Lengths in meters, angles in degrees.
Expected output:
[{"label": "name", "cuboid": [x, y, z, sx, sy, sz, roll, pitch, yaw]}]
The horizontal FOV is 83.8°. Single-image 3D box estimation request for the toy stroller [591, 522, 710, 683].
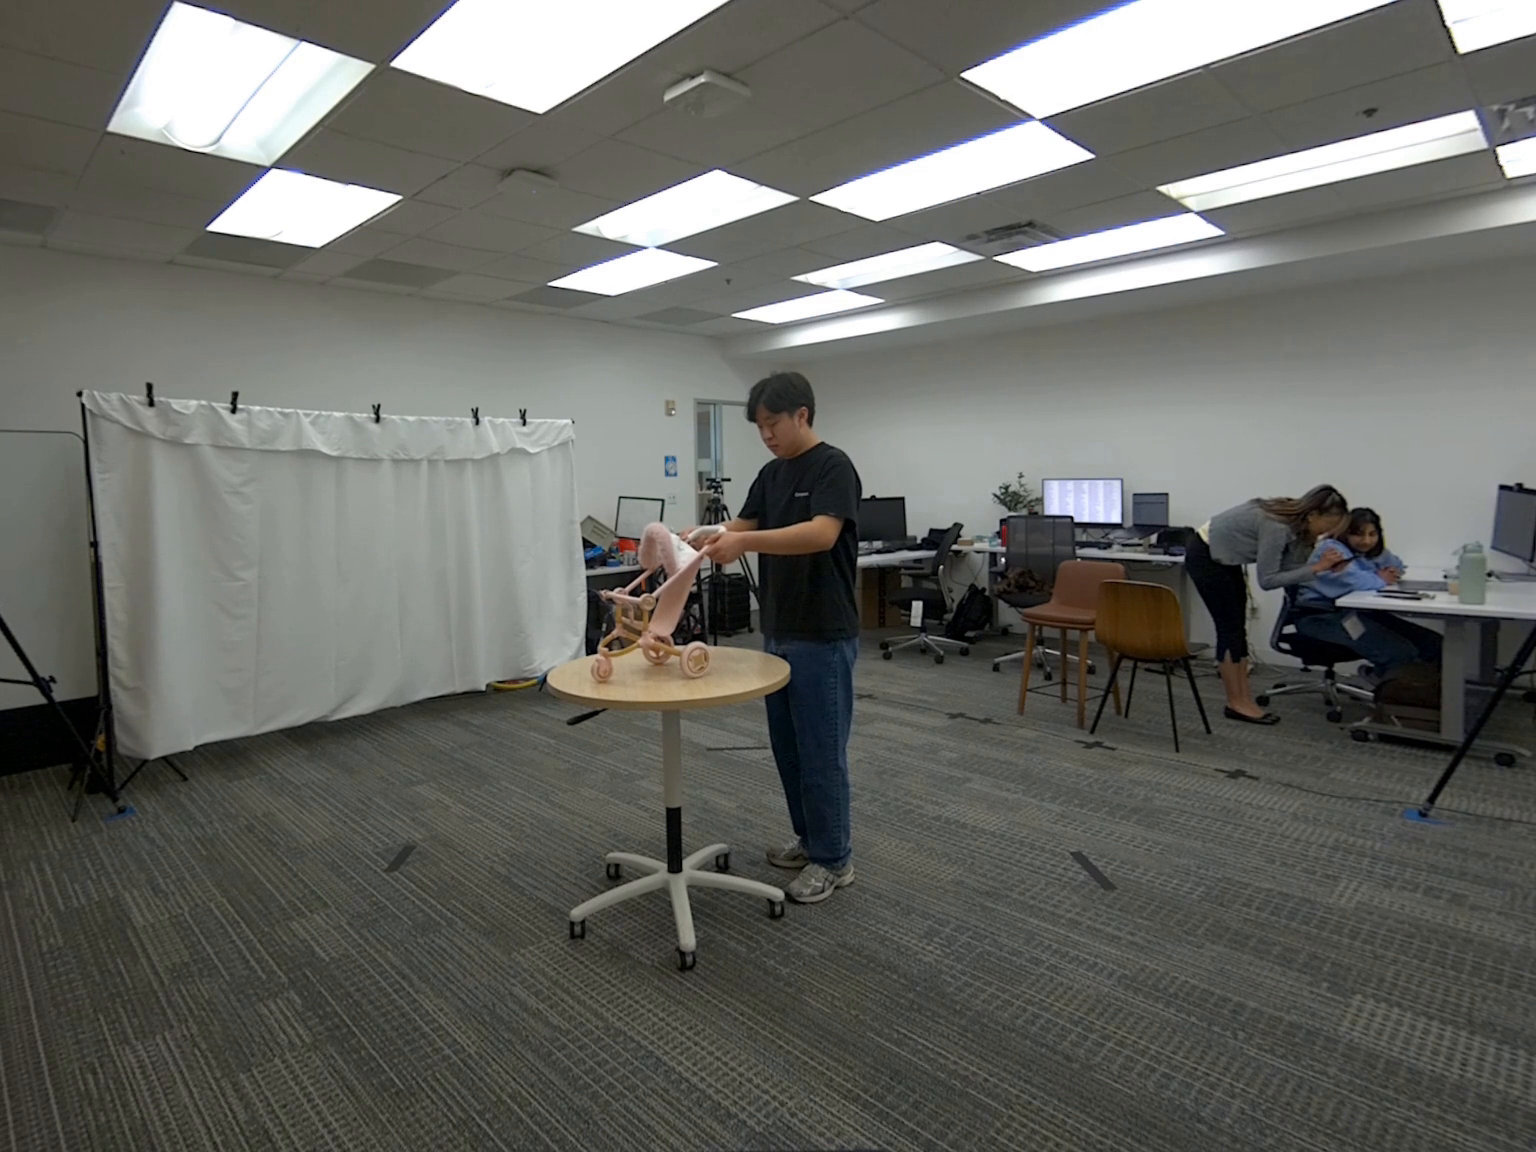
[{"label": "toy stroller", "cuboid": [-0.345, 0.077, 2.655, 0.332, 0.536, 0.289, 13, -3, -28]}]
